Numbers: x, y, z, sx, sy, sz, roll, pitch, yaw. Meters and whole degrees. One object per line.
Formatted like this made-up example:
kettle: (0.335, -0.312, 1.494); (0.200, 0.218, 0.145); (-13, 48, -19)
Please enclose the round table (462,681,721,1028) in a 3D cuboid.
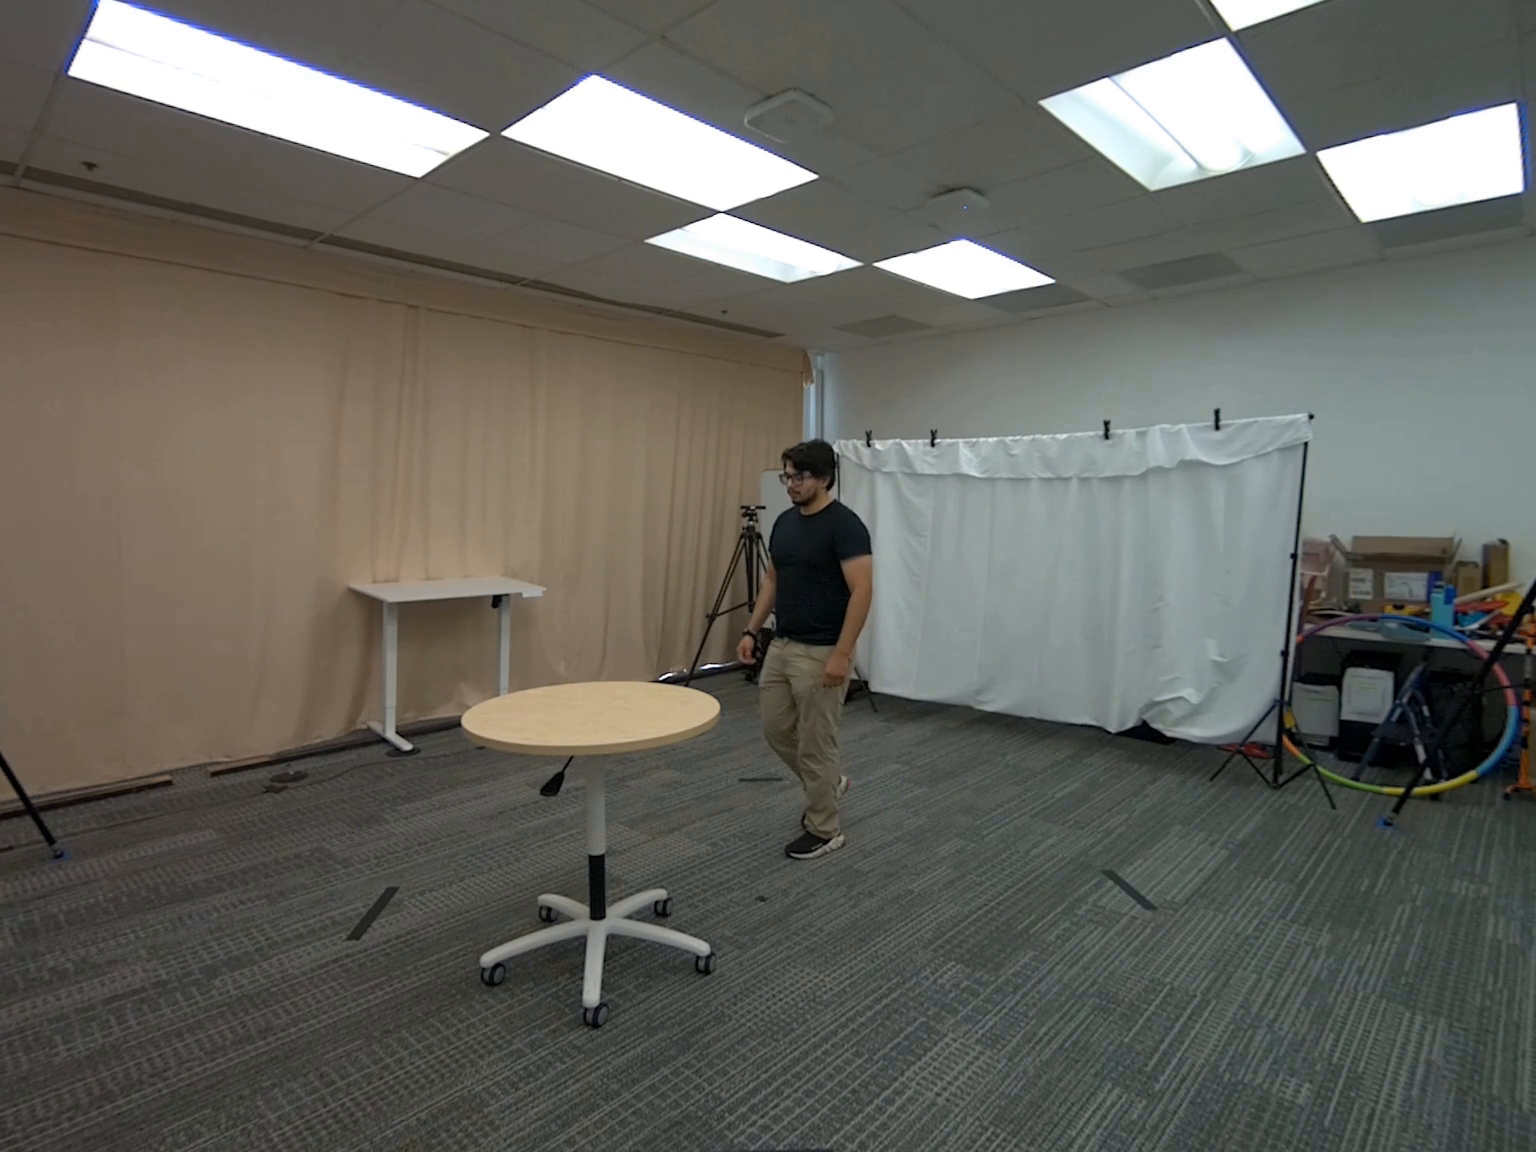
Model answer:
round table: (-0.500, 0.790, 2.553); (0.784, 0.785, 0.788); (-1, 4, -2)
